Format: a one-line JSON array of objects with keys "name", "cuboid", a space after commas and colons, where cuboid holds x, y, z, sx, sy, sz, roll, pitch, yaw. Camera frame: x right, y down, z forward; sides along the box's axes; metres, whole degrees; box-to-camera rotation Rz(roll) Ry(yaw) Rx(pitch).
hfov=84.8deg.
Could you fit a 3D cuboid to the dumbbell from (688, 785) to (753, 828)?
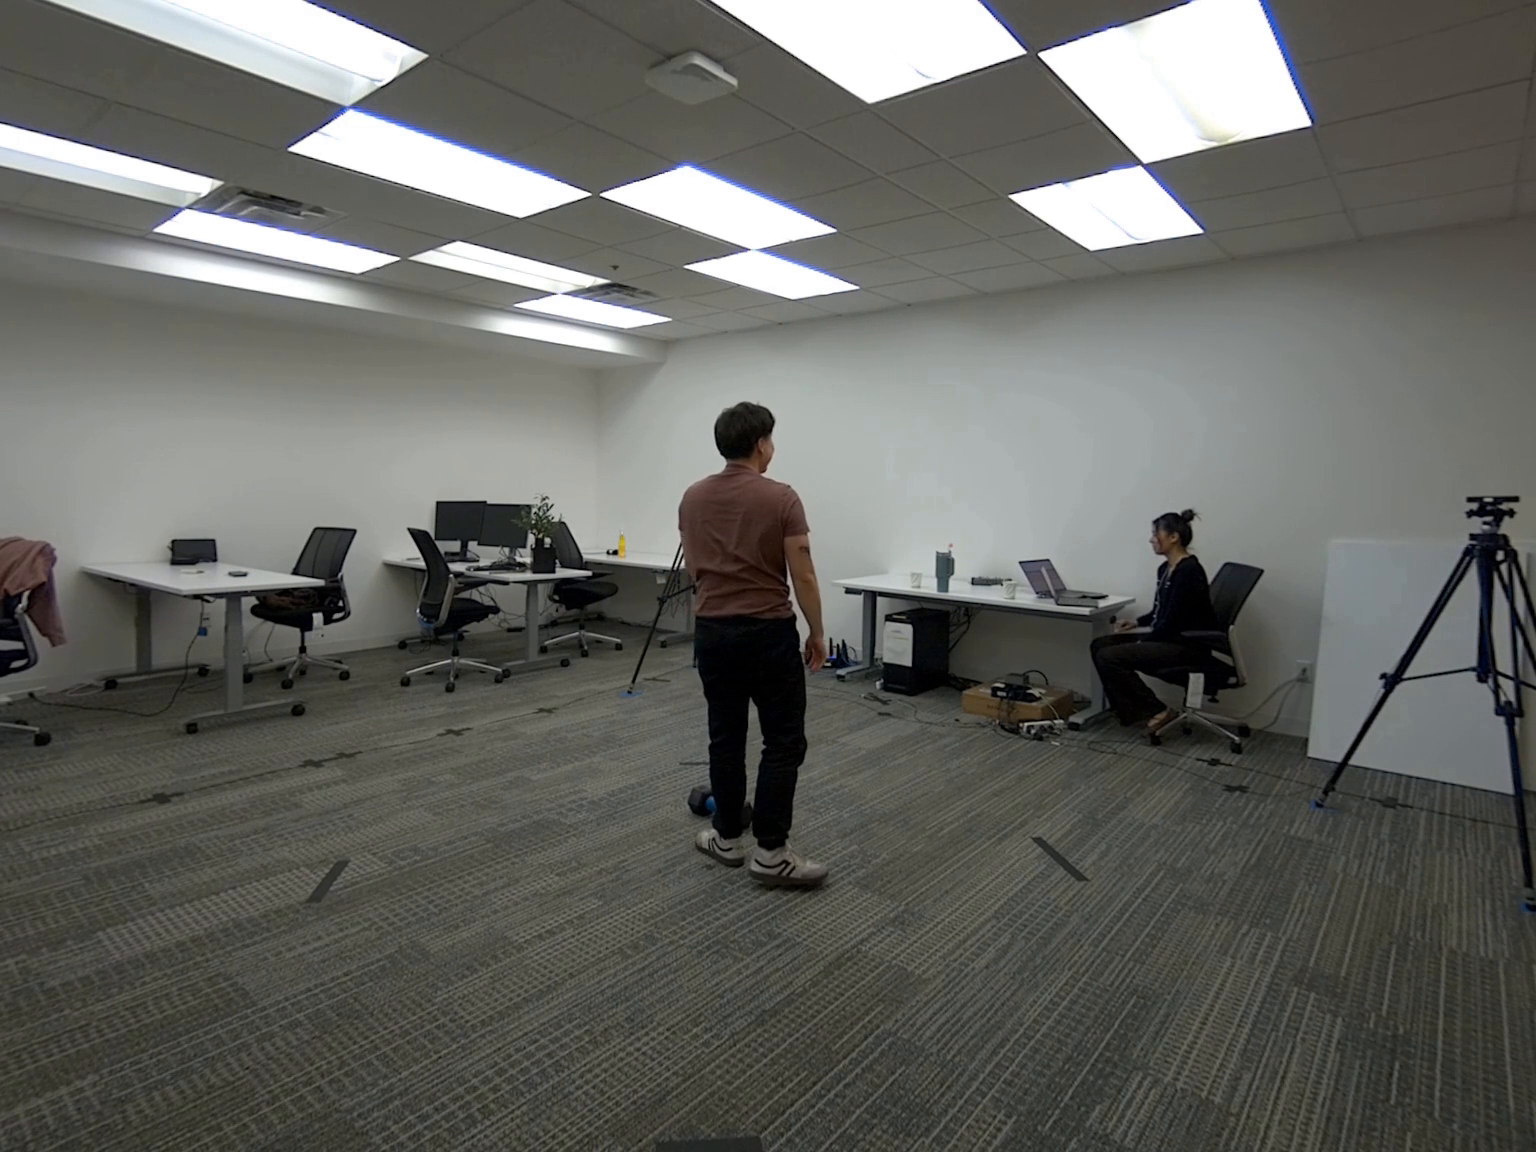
[{"name": "dumbbell", "cuboid": [-0.211, 0.966, 3.569, 0.304, 0.124, 0.104, 6, -24, 41]}]
